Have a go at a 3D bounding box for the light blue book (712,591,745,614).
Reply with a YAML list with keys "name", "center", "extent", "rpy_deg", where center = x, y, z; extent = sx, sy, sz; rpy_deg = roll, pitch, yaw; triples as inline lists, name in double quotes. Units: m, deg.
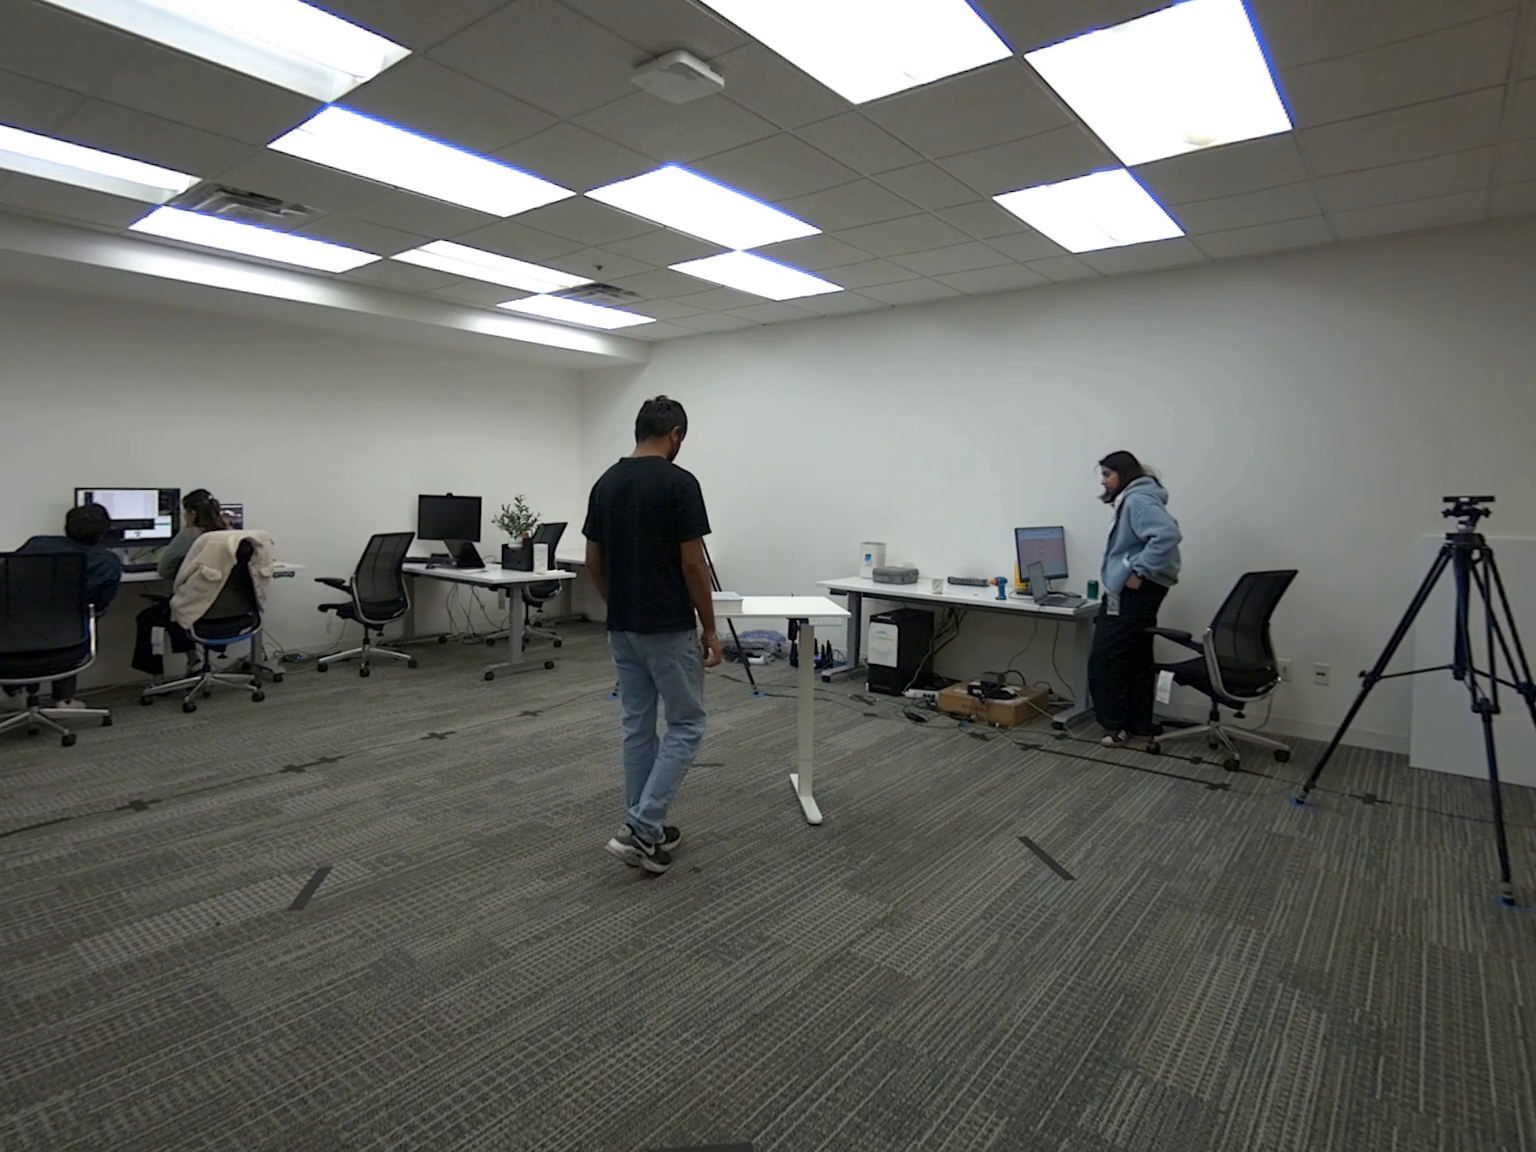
- name: "light blue book"
  center: [-0.216, 0.108, 3.614]
  extent: [0.190, 0.059, 0.264]
  rpy_deg: [-1, 5, -9]
